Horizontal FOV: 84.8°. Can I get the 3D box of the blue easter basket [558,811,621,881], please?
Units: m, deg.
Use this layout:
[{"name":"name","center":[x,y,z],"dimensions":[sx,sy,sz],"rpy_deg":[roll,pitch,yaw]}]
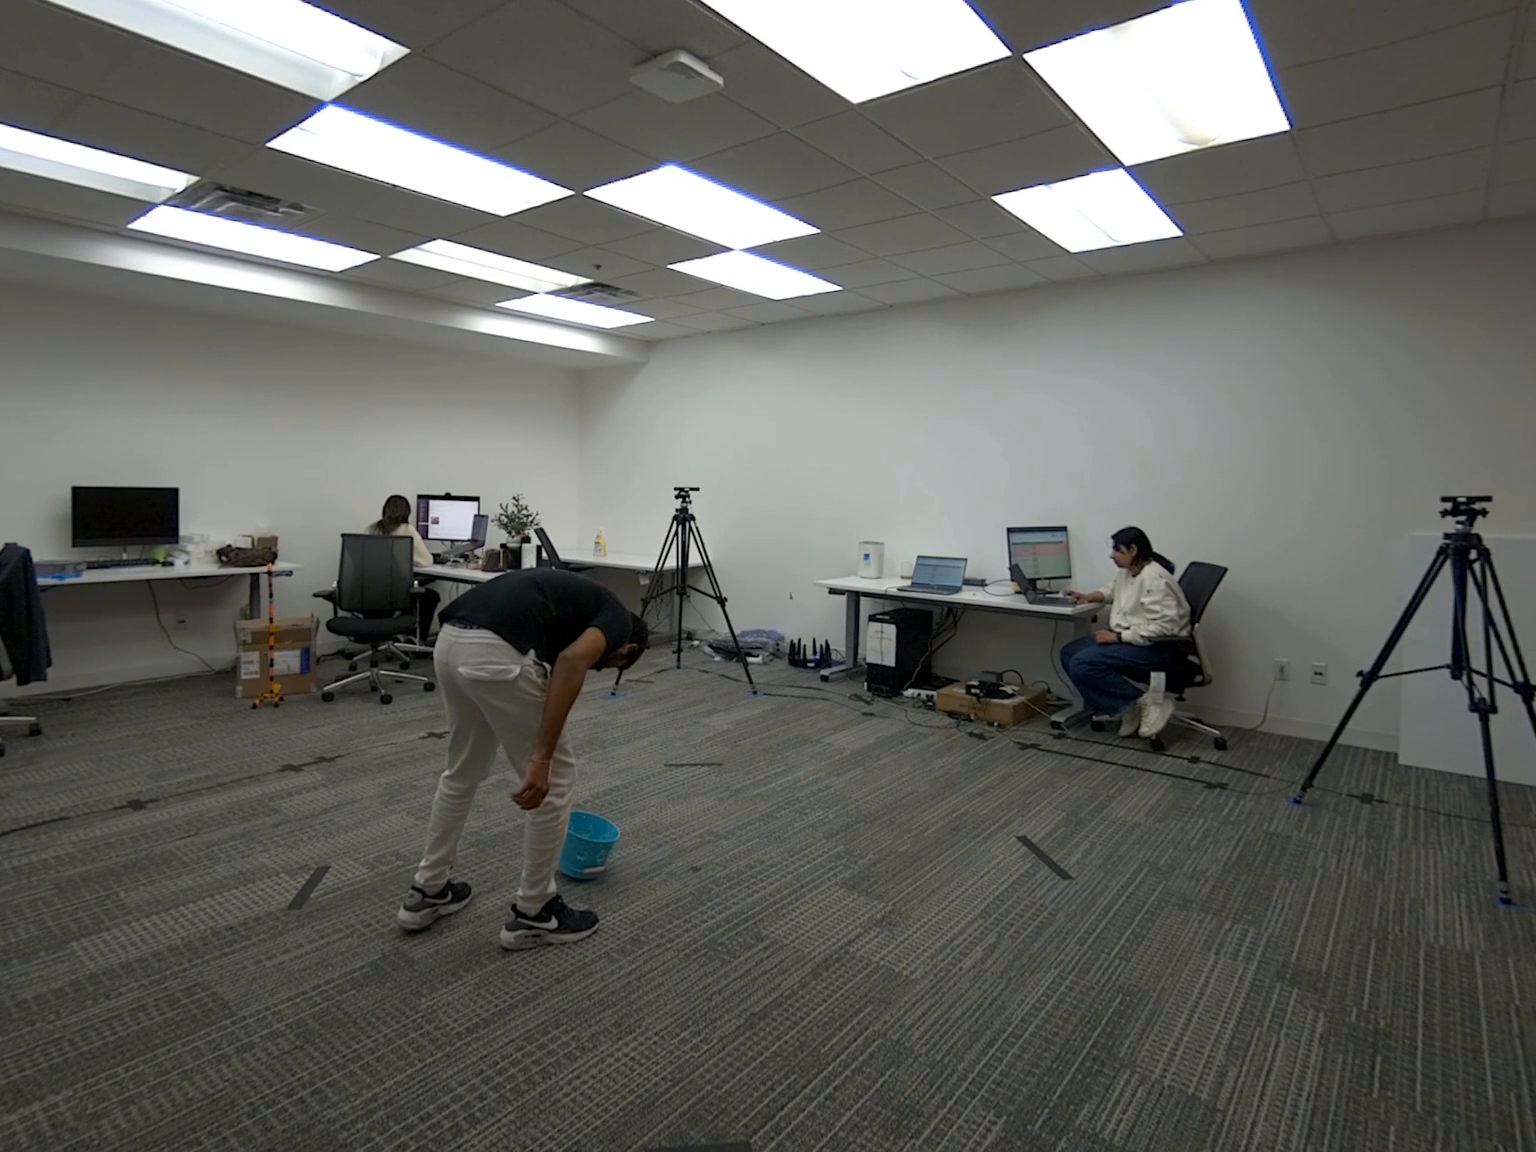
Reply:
[{"name":"blue easter basket","center":[-0.678,0.968,3.052],"dimensions":[0.243,0.155,0.244],"rpy_deg":[16,3,-3]}]
